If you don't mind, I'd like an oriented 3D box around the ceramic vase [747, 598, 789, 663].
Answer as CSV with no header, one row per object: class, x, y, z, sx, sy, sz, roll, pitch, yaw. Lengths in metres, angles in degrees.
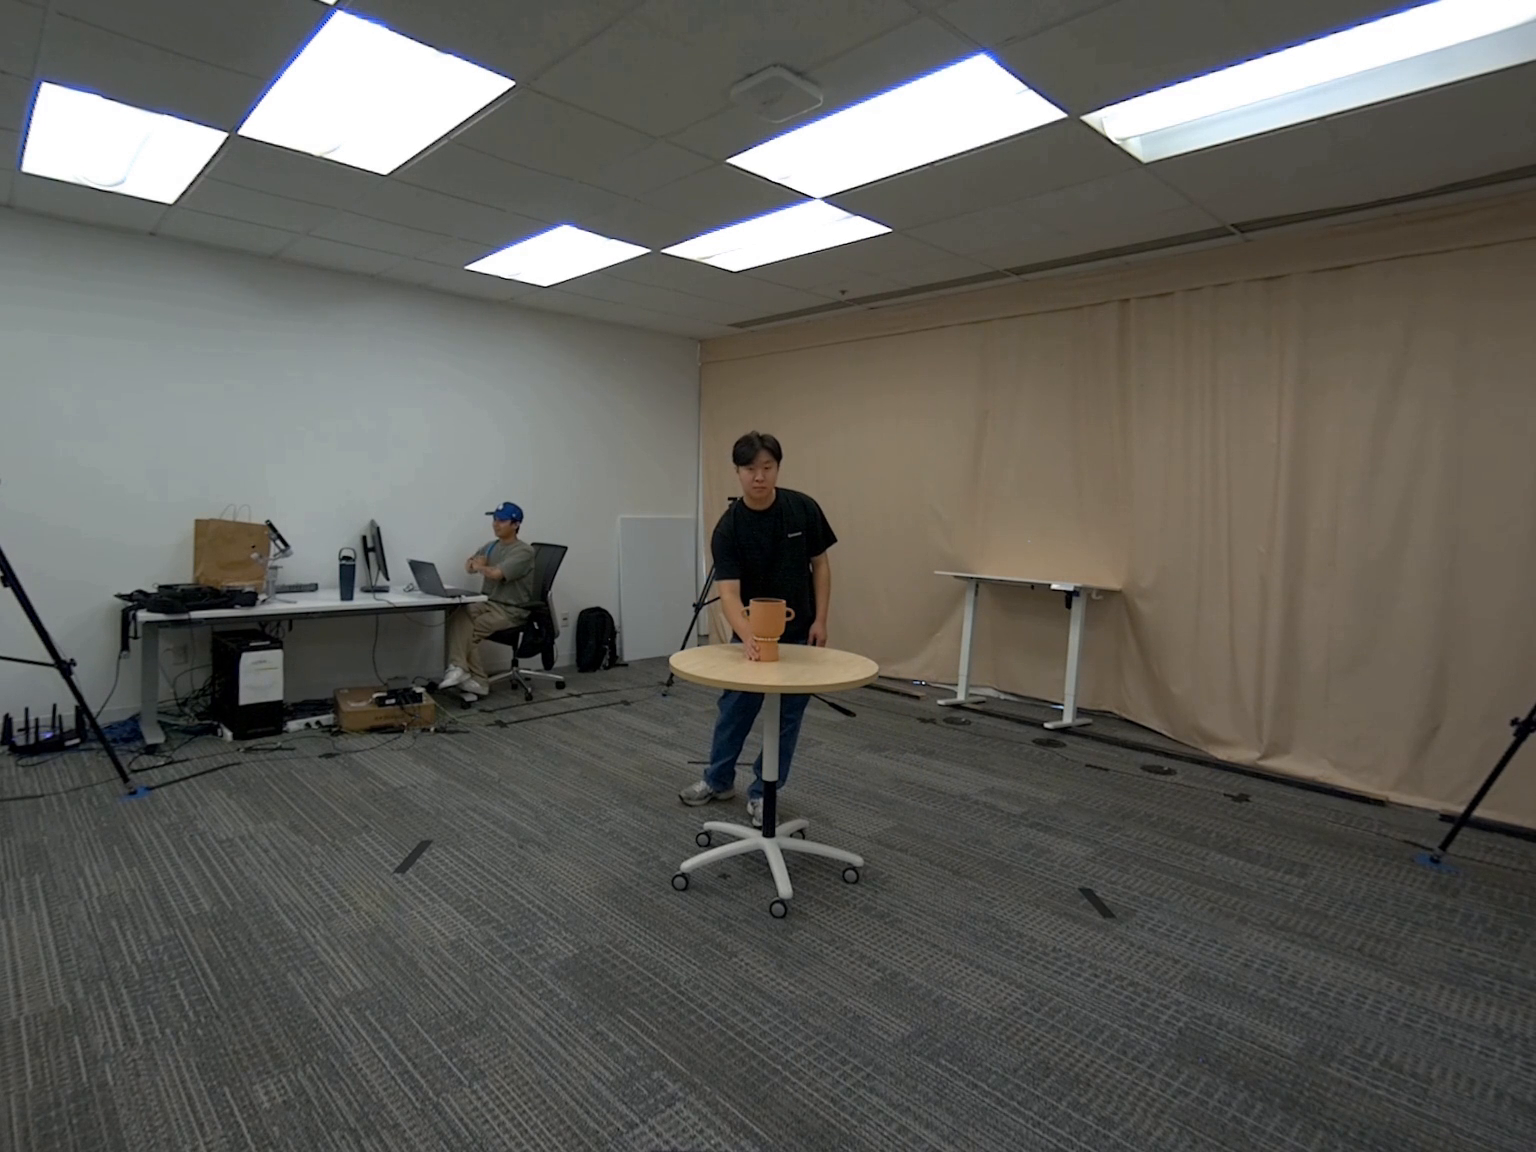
ceramic vase,-0.016,0.199,3.130,0.162,0.219,0.132,4,4,36
